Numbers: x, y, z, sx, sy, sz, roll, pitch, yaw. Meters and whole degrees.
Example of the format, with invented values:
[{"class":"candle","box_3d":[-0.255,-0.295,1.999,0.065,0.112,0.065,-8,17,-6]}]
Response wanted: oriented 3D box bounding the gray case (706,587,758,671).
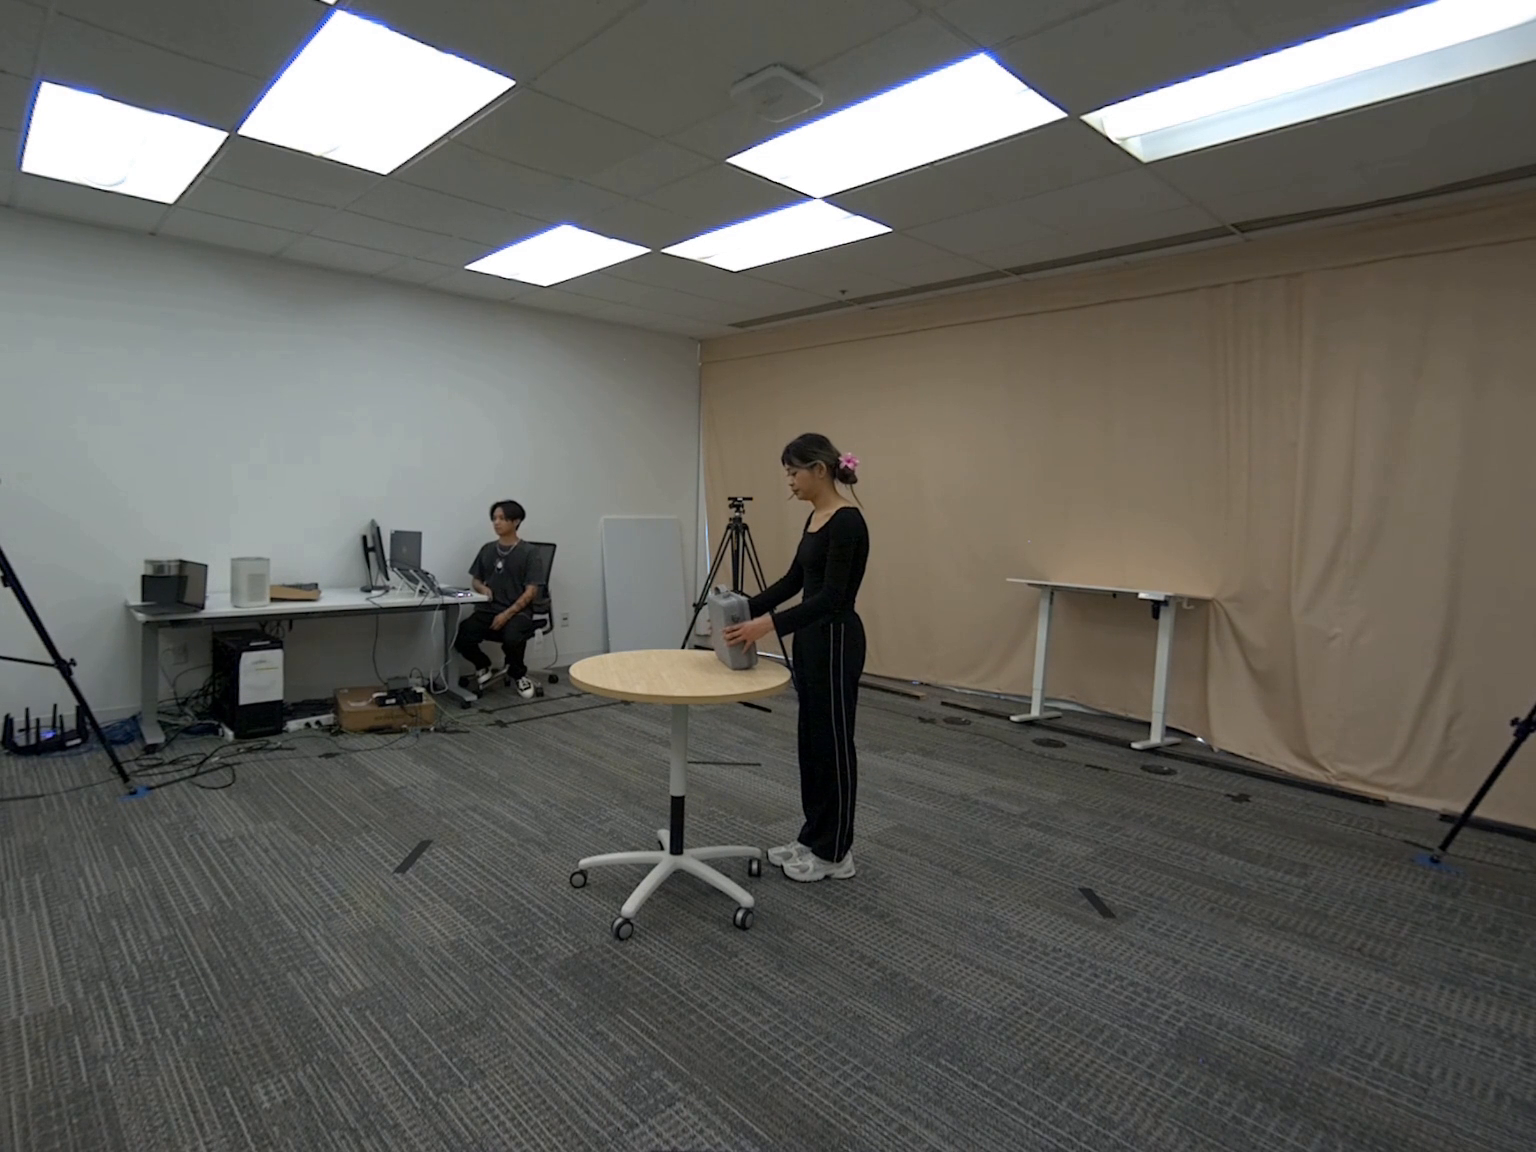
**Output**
[{"class":"gray case","box_3d":[-0.135,0.192,3.044,0.103,0.259,0.261,-10,7,-15]}]
